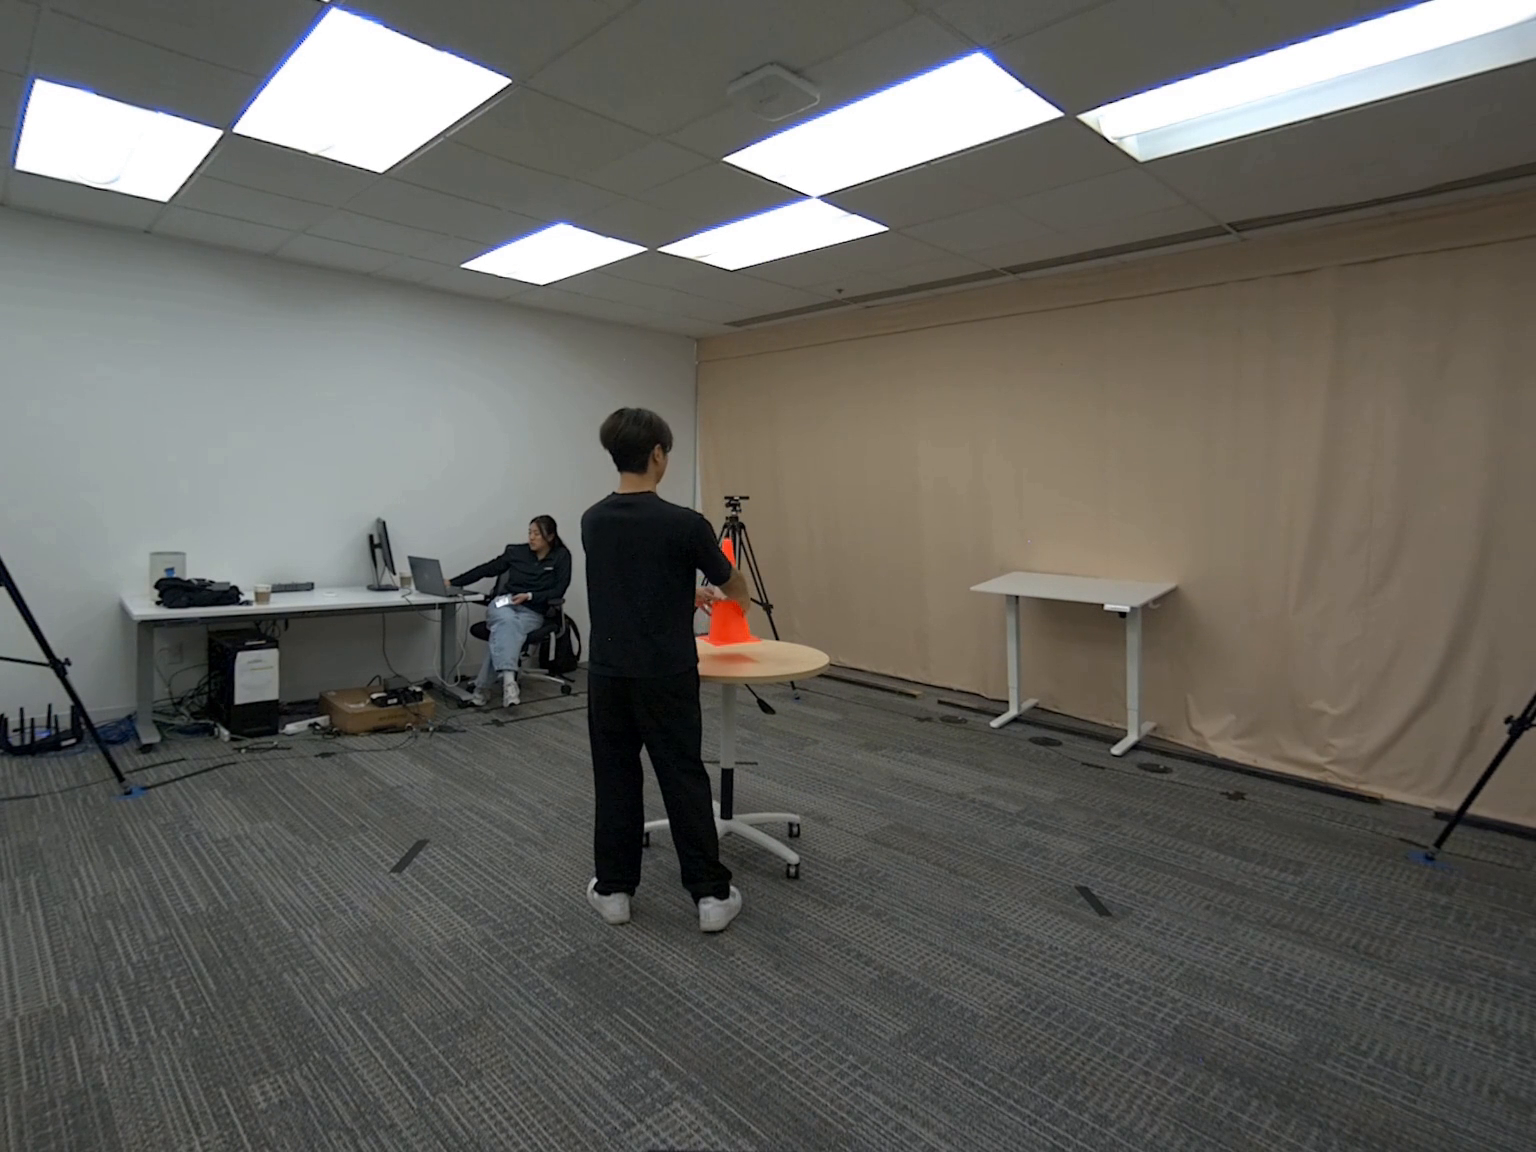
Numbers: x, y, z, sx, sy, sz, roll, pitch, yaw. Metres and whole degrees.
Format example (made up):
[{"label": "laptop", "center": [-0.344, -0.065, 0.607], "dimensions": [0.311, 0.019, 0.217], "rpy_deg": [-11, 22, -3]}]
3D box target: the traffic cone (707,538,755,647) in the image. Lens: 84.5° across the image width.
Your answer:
[{"label": "traffic cone", "center": [-0.156, 0.040, 3.172], "dimensions": [0.200, 0.382, 0.208], "rpy_deg": [-5, 7, -39]}]
